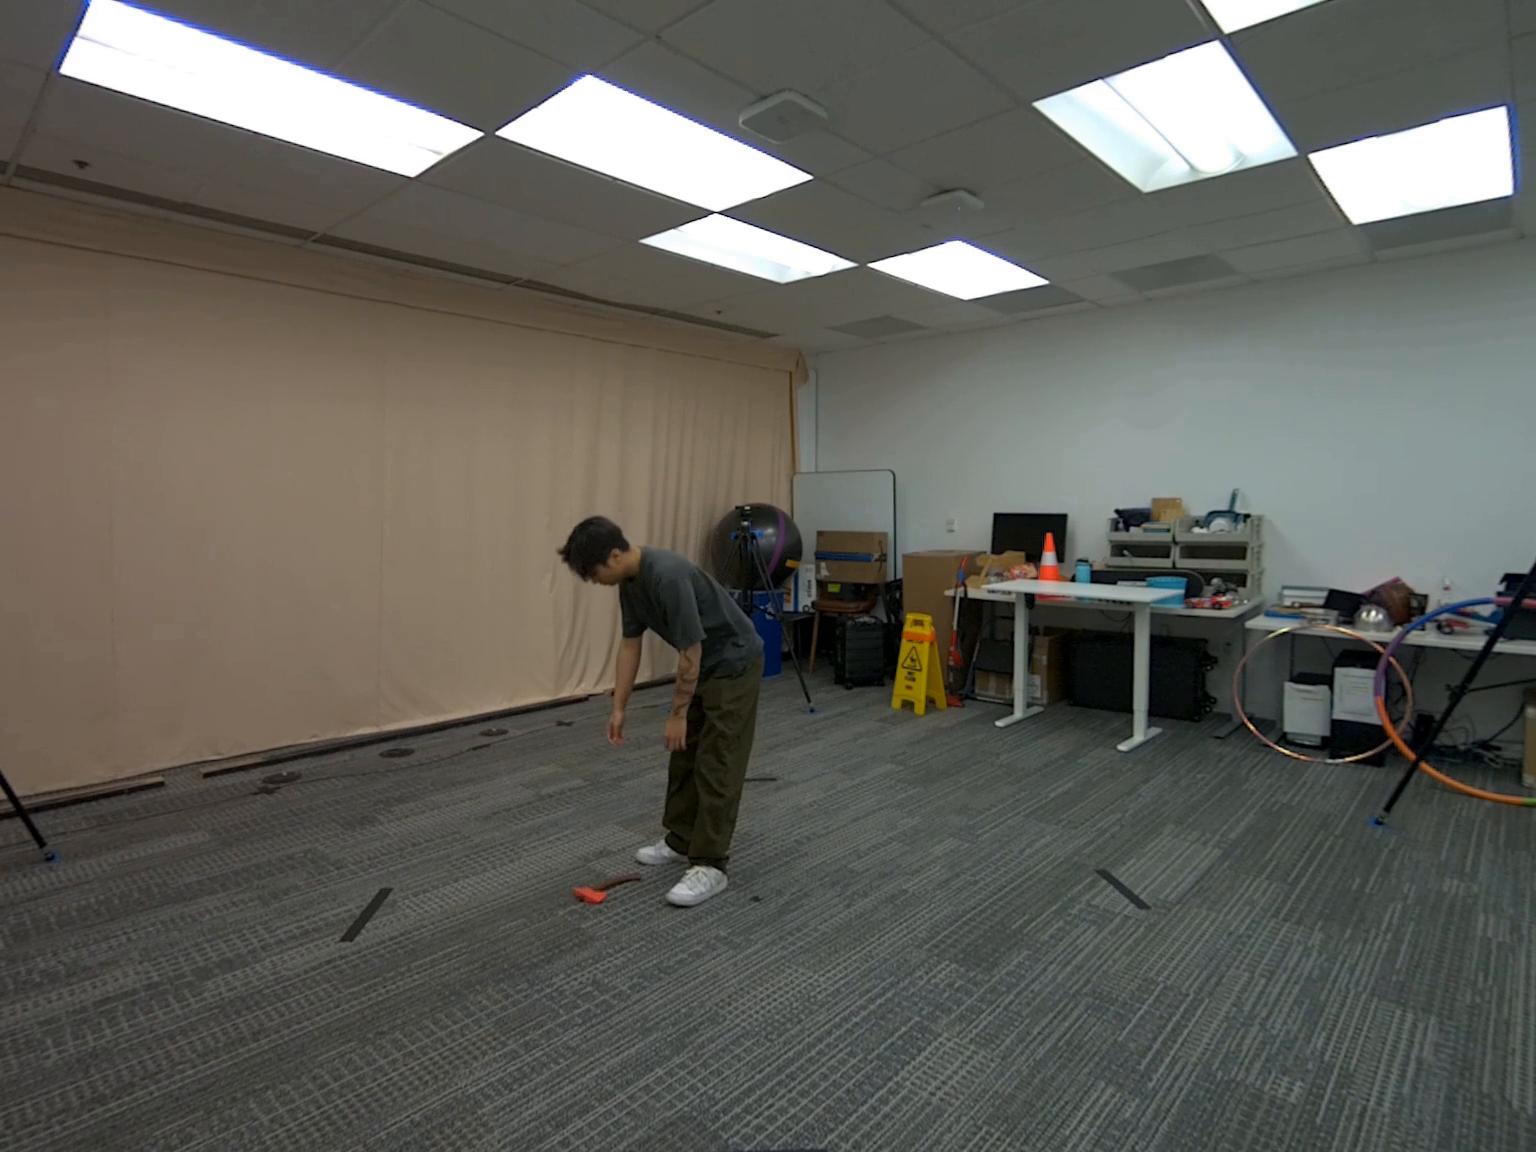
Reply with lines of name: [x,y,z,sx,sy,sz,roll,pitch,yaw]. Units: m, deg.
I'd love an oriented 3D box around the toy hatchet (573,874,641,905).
toy hatchet: [-0.566,1.136,3.045,0.262,0.029,0.135,-1,4,-33]
